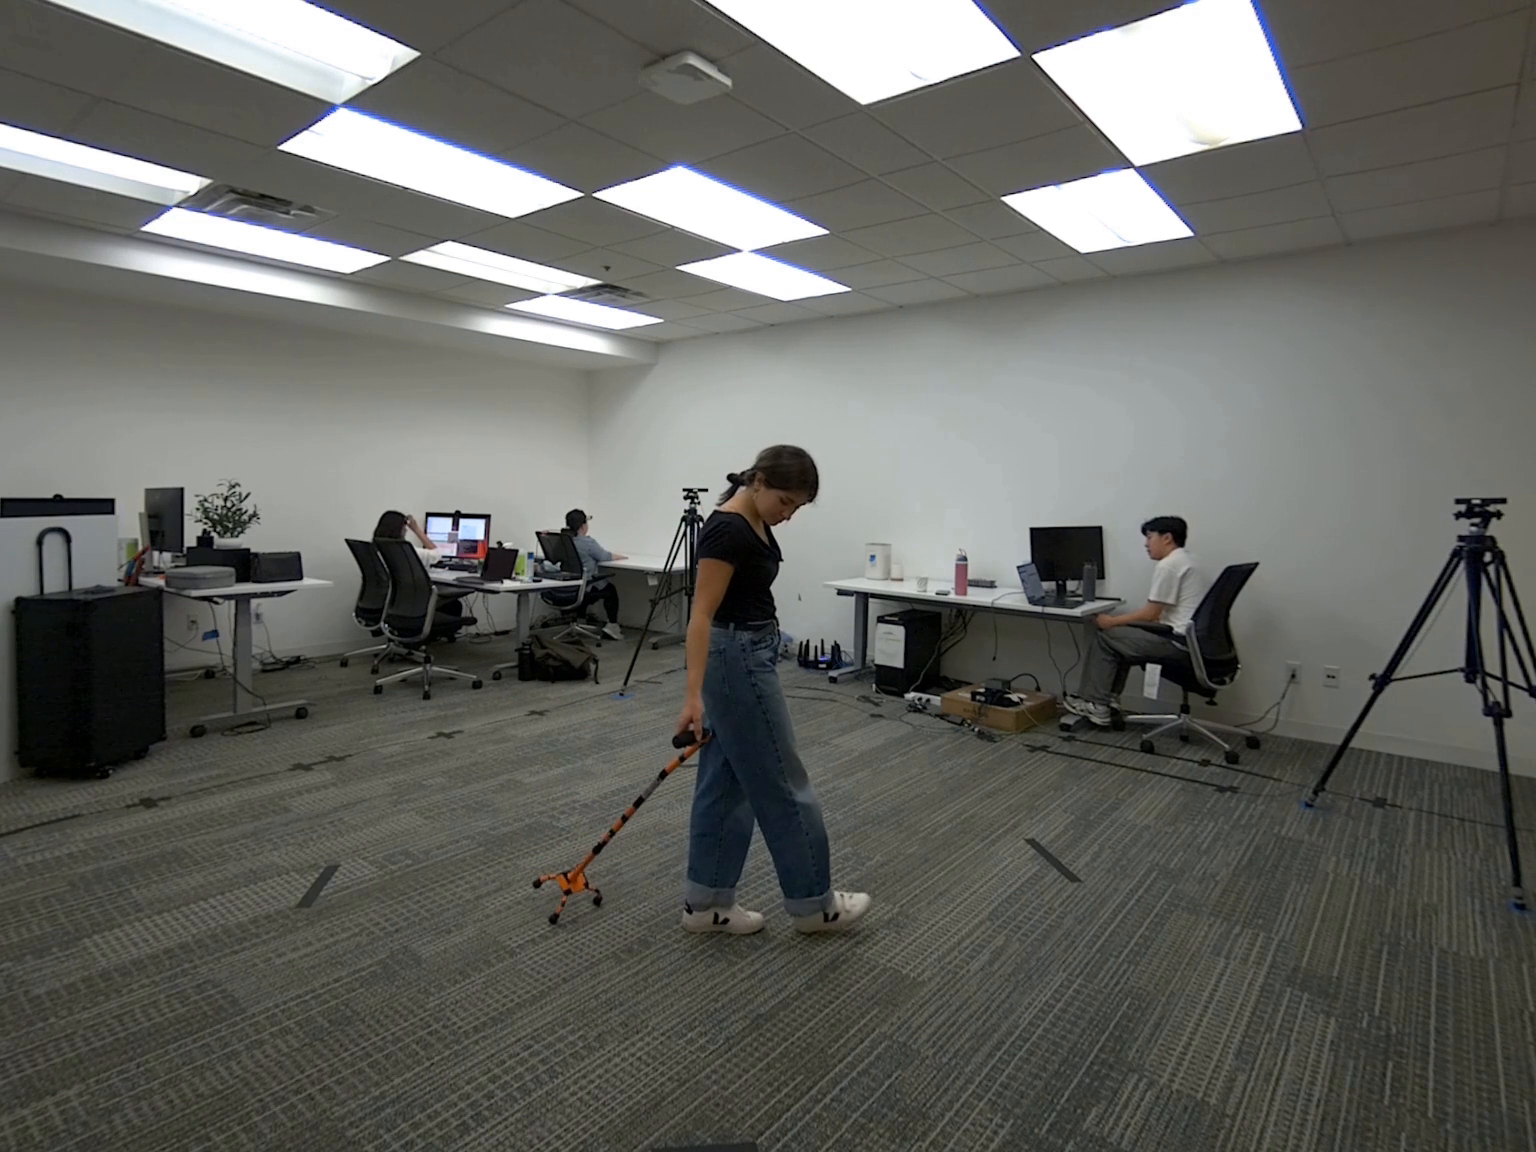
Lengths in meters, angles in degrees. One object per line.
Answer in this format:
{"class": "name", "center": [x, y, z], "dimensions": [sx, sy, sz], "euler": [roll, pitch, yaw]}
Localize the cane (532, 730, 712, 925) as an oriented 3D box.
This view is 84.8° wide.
{"class": "cane", "center": [-0.419, 0.733, 2.569], "dimensions": [0.200, 0.157, 0.905], "euler": [-3, -40, -48]}
